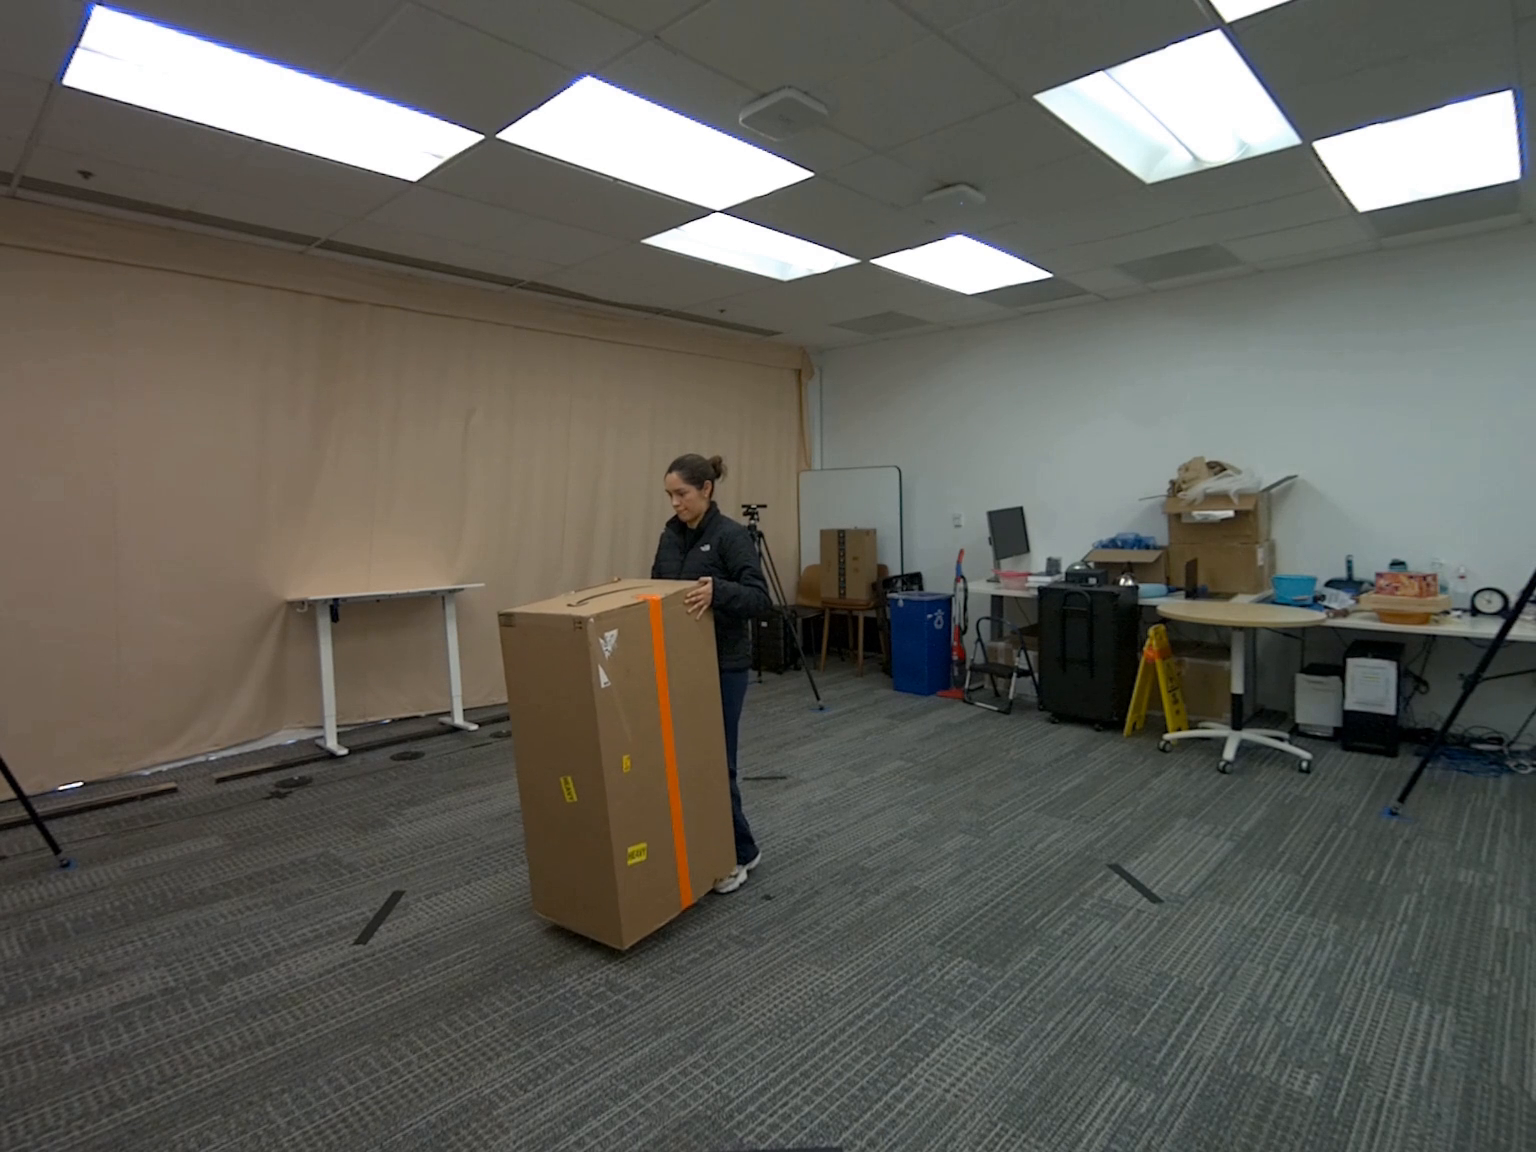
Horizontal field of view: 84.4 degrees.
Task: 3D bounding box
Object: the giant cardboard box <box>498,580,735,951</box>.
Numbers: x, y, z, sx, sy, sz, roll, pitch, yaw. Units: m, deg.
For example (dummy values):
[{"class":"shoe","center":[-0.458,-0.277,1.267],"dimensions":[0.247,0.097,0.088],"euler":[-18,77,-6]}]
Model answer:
[{"class":"giant cardboard box","center":[-0.473,0.577,2.807],"dimensions":[0.439,1.021,0.562],"euler":[0,9,37]}]
